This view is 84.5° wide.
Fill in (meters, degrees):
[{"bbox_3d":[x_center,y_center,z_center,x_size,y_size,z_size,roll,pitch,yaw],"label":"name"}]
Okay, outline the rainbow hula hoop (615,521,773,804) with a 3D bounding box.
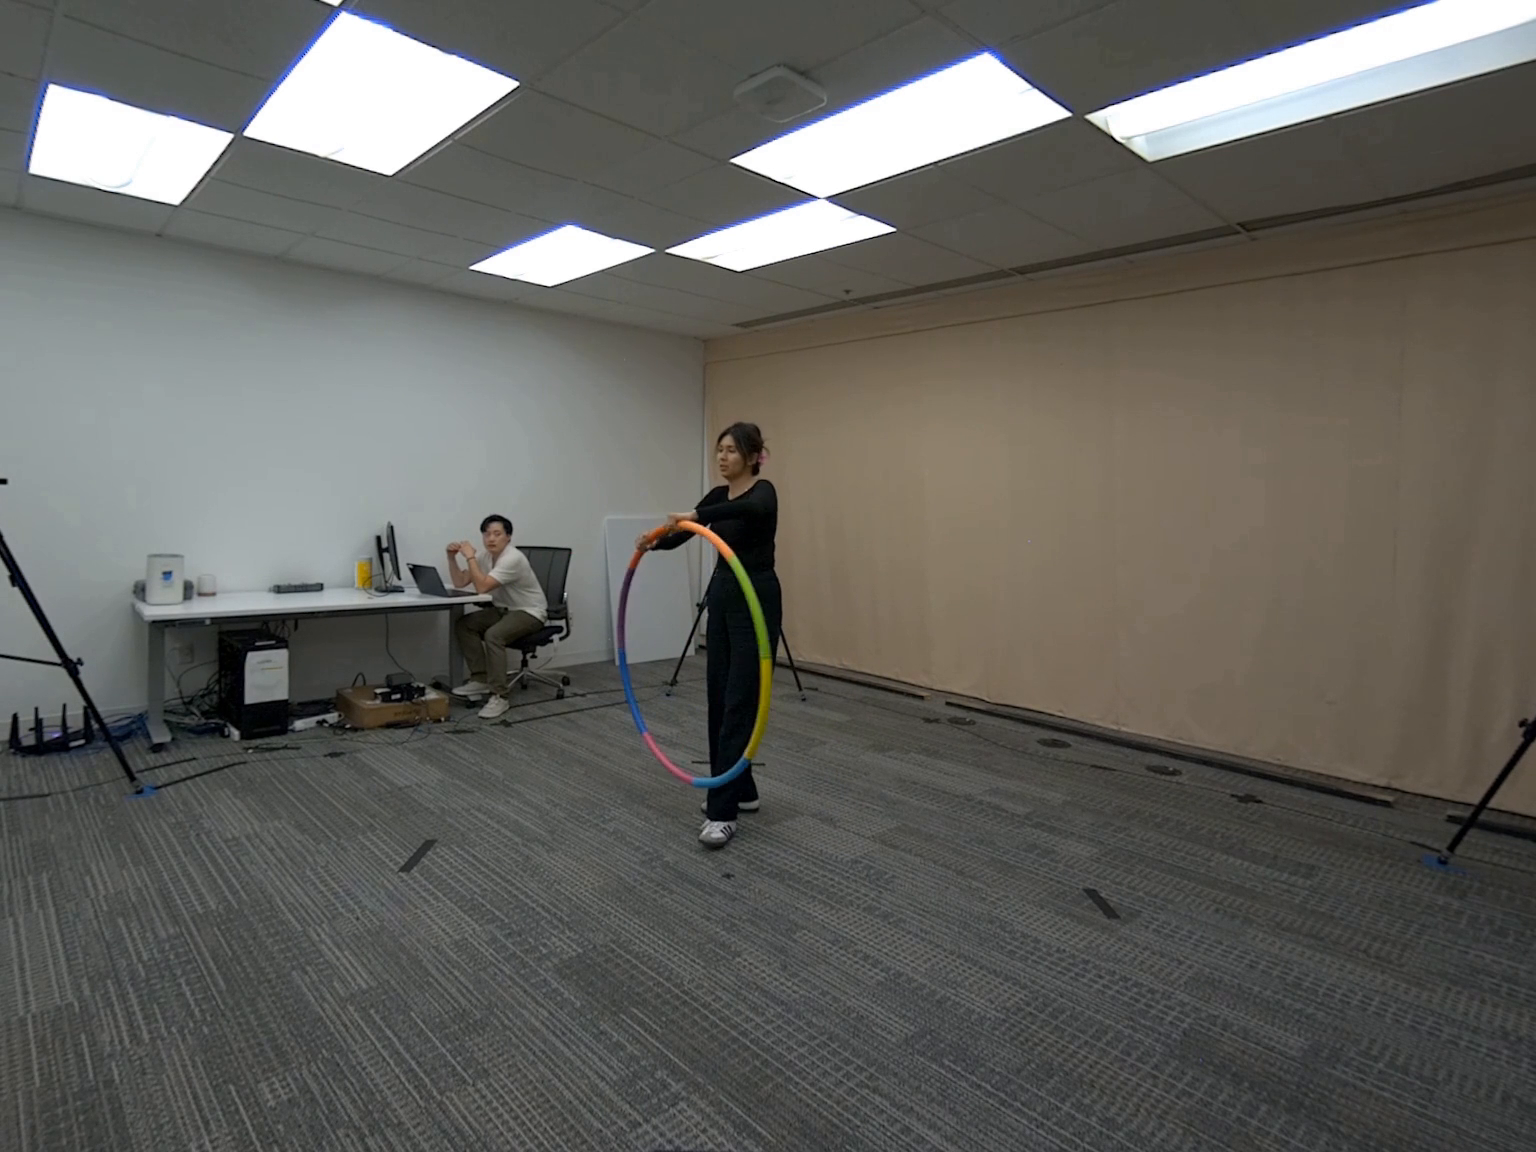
[{"bbox_3d":[-0.332,0.290,3.165,0.050,0.982,1.010,-4,7,-38],"label":"rainbow hula hoop"}]
